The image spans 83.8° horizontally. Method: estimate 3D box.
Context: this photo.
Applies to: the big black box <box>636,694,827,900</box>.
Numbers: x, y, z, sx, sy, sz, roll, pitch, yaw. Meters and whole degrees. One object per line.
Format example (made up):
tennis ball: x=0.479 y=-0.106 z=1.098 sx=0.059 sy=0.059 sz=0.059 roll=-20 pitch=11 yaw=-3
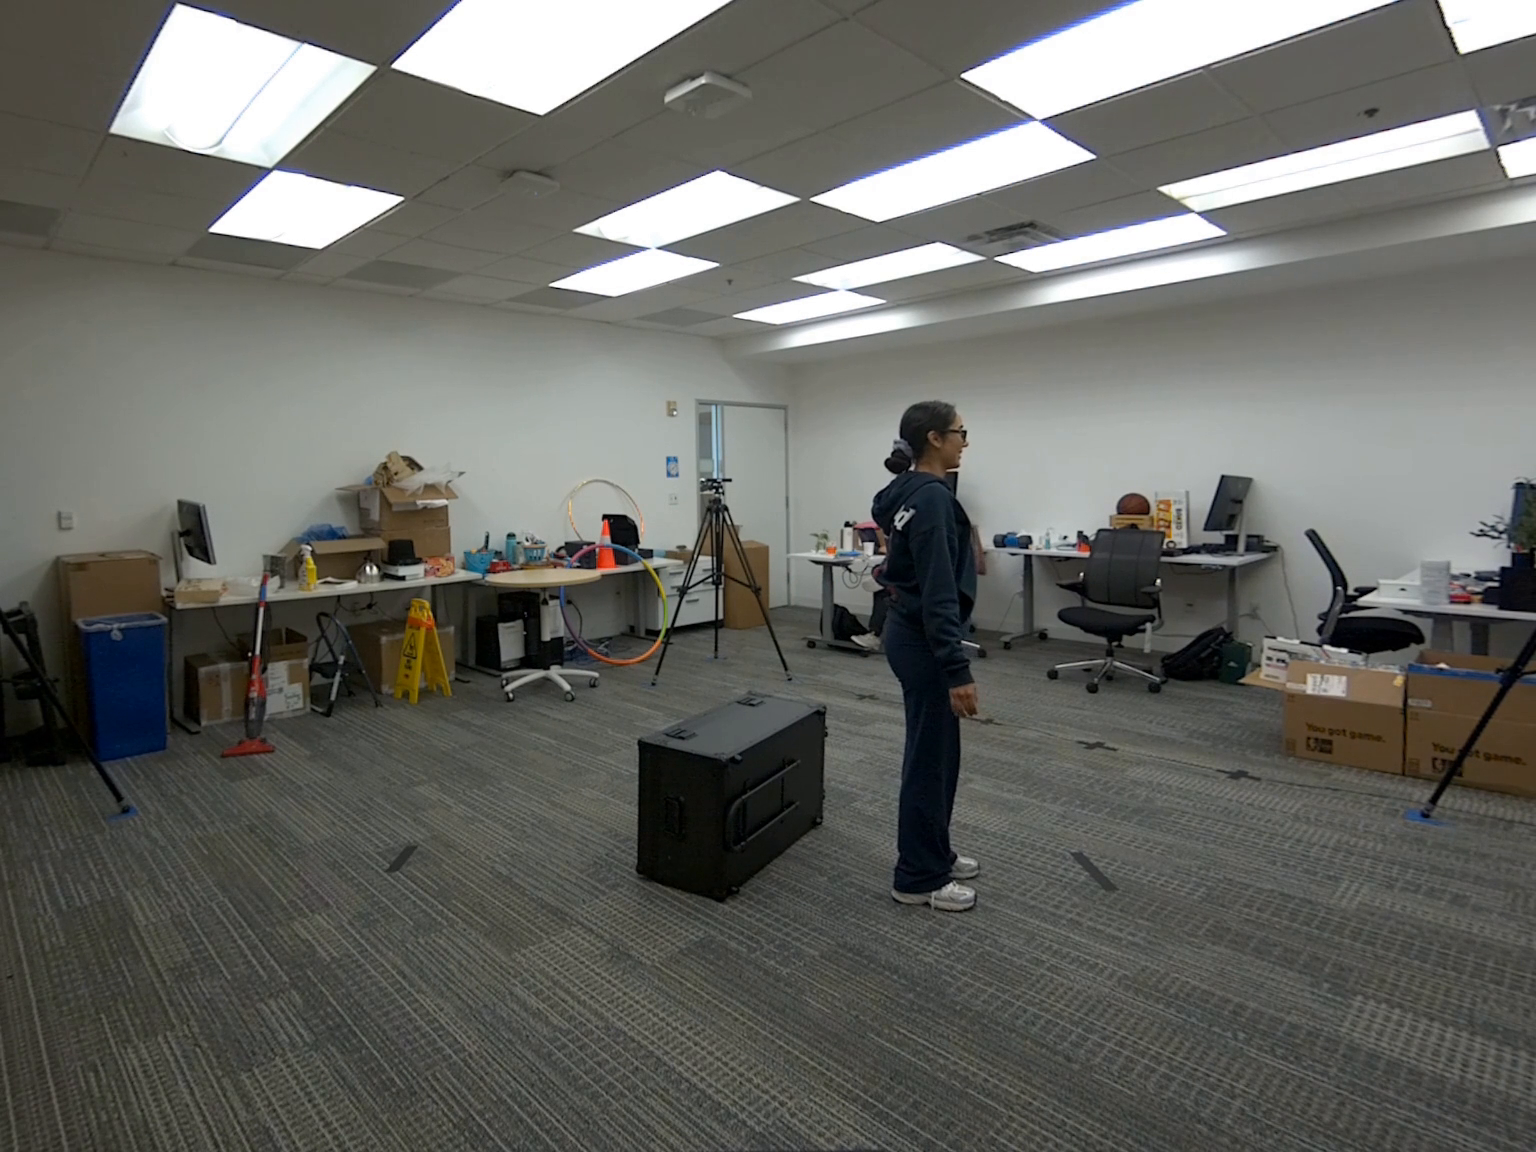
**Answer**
big black box: x=-0.086 y=0.774 z=3.239 sx=0.407 sy=0.518 sz=0.843 roll=4 pitch=8 yaw=29
